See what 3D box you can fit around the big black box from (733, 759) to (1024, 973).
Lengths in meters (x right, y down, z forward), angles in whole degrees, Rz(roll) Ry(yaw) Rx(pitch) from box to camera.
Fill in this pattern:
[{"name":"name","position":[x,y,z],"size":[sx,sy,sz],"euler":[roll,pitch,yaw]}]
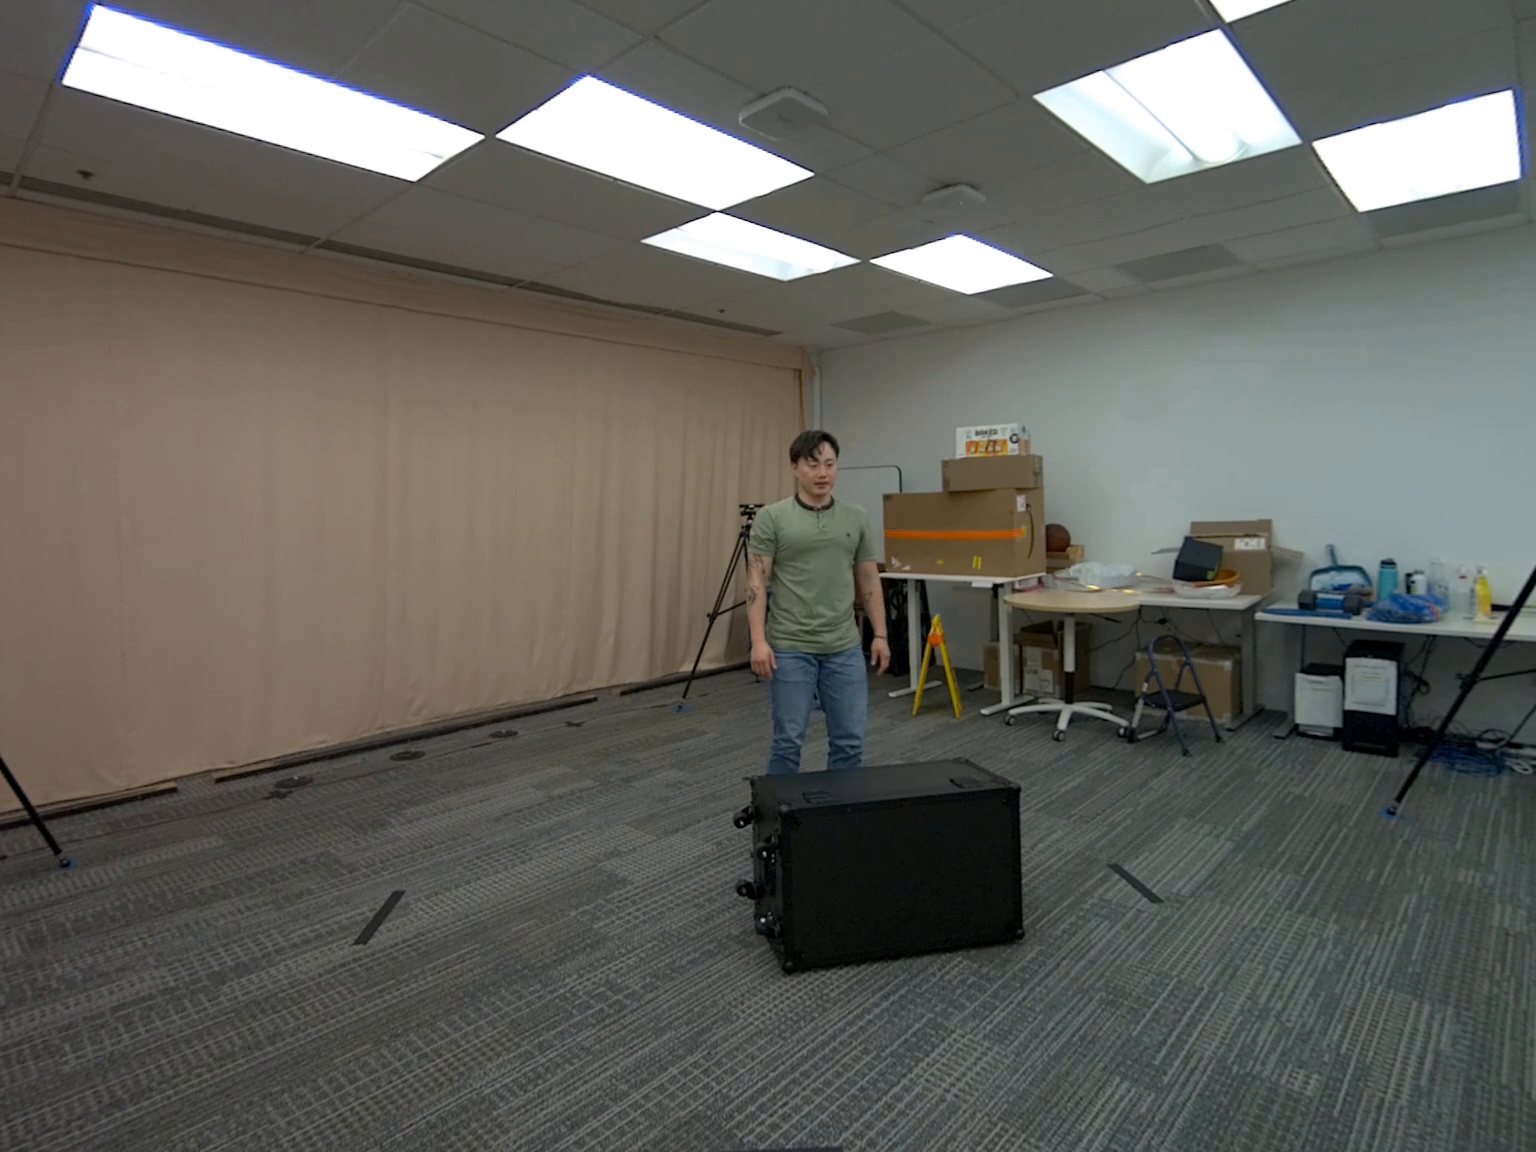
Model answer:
[{"name":"big black box","position":[0.343,0.897,2.732],"size":[0.850,0.521,0.402],"euler":[-2,1,-13]}]
